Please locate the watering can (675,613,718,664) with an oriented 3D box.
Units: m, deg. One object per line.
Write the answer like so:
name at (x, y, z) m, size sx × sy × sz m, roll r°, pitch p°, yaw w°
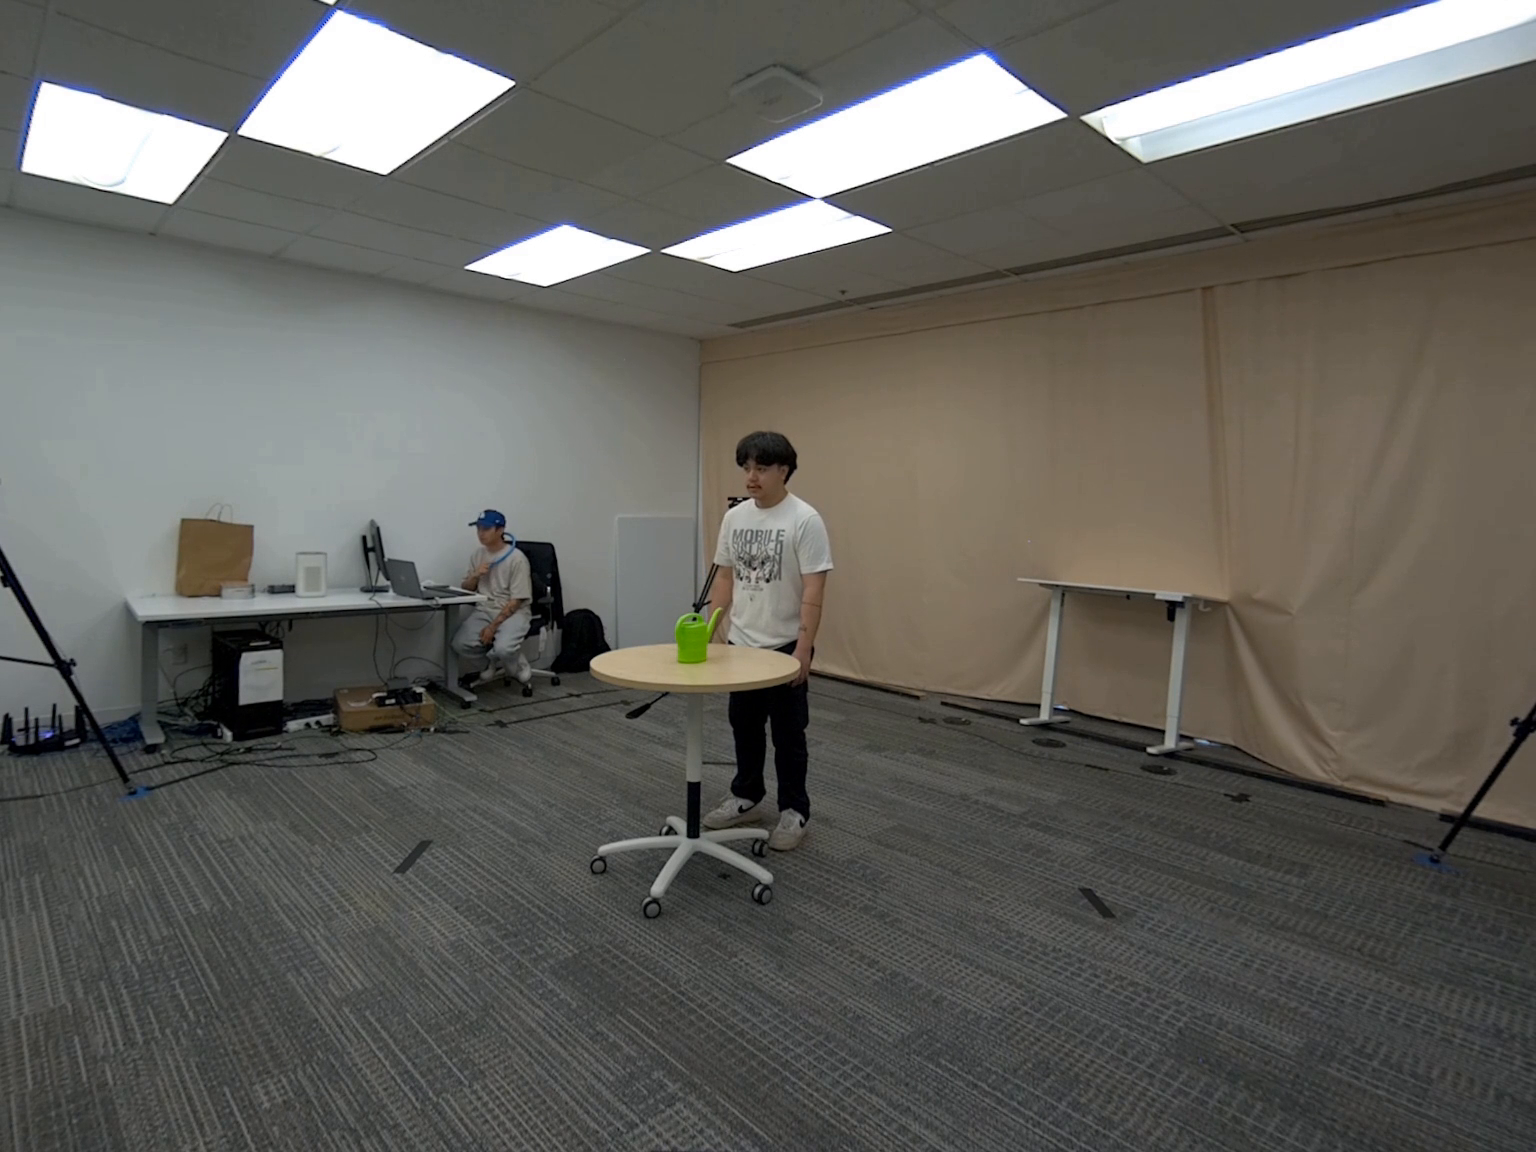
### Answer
watering can at (-0.259, 0.222, 3.111) m, size 0.100 × 0.176 × 0.272 m, roll 5°, pitch 8°, yaw 44°
